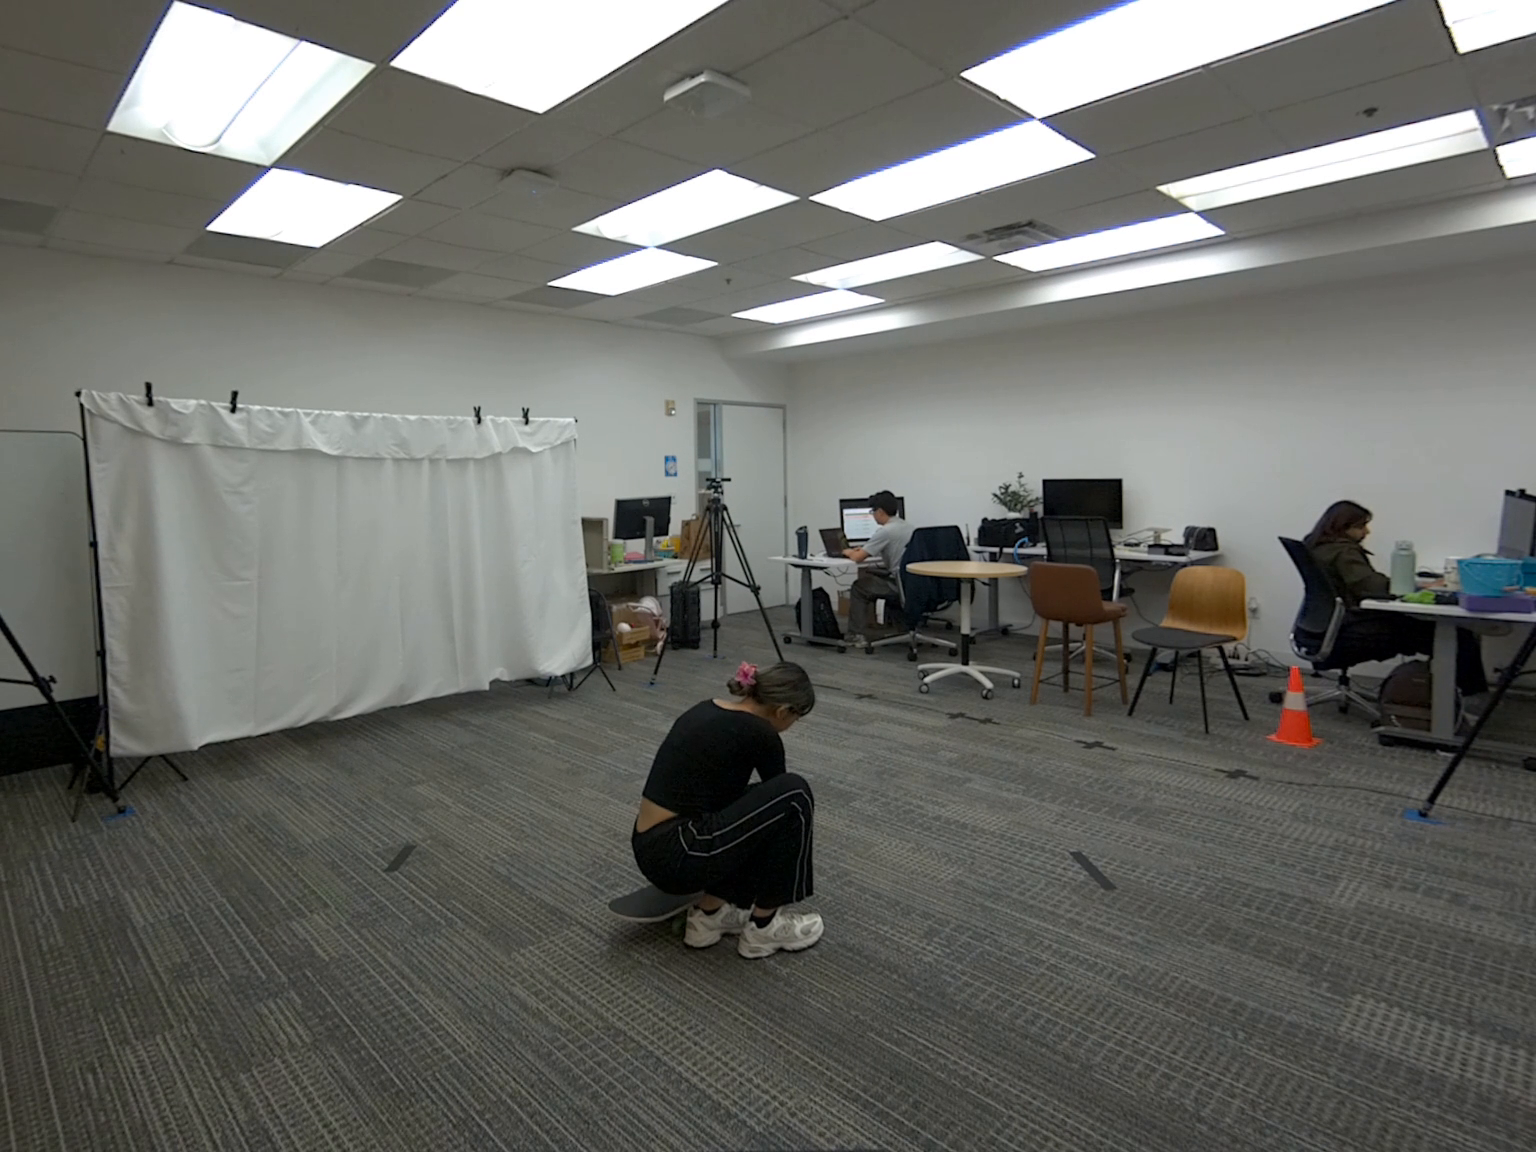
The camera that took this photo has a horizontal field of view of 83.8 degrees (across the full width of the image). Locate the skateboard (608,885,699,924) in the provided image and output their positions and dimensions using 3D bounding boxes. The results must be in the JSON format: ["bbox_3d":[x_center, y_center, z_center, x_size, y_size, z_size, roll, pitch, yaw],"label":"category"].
[{"bbox_3d":[-0.180,1.017,2.818,0.765,0.110,0.199,-7,5,-43],"label":"skateboard"}]
